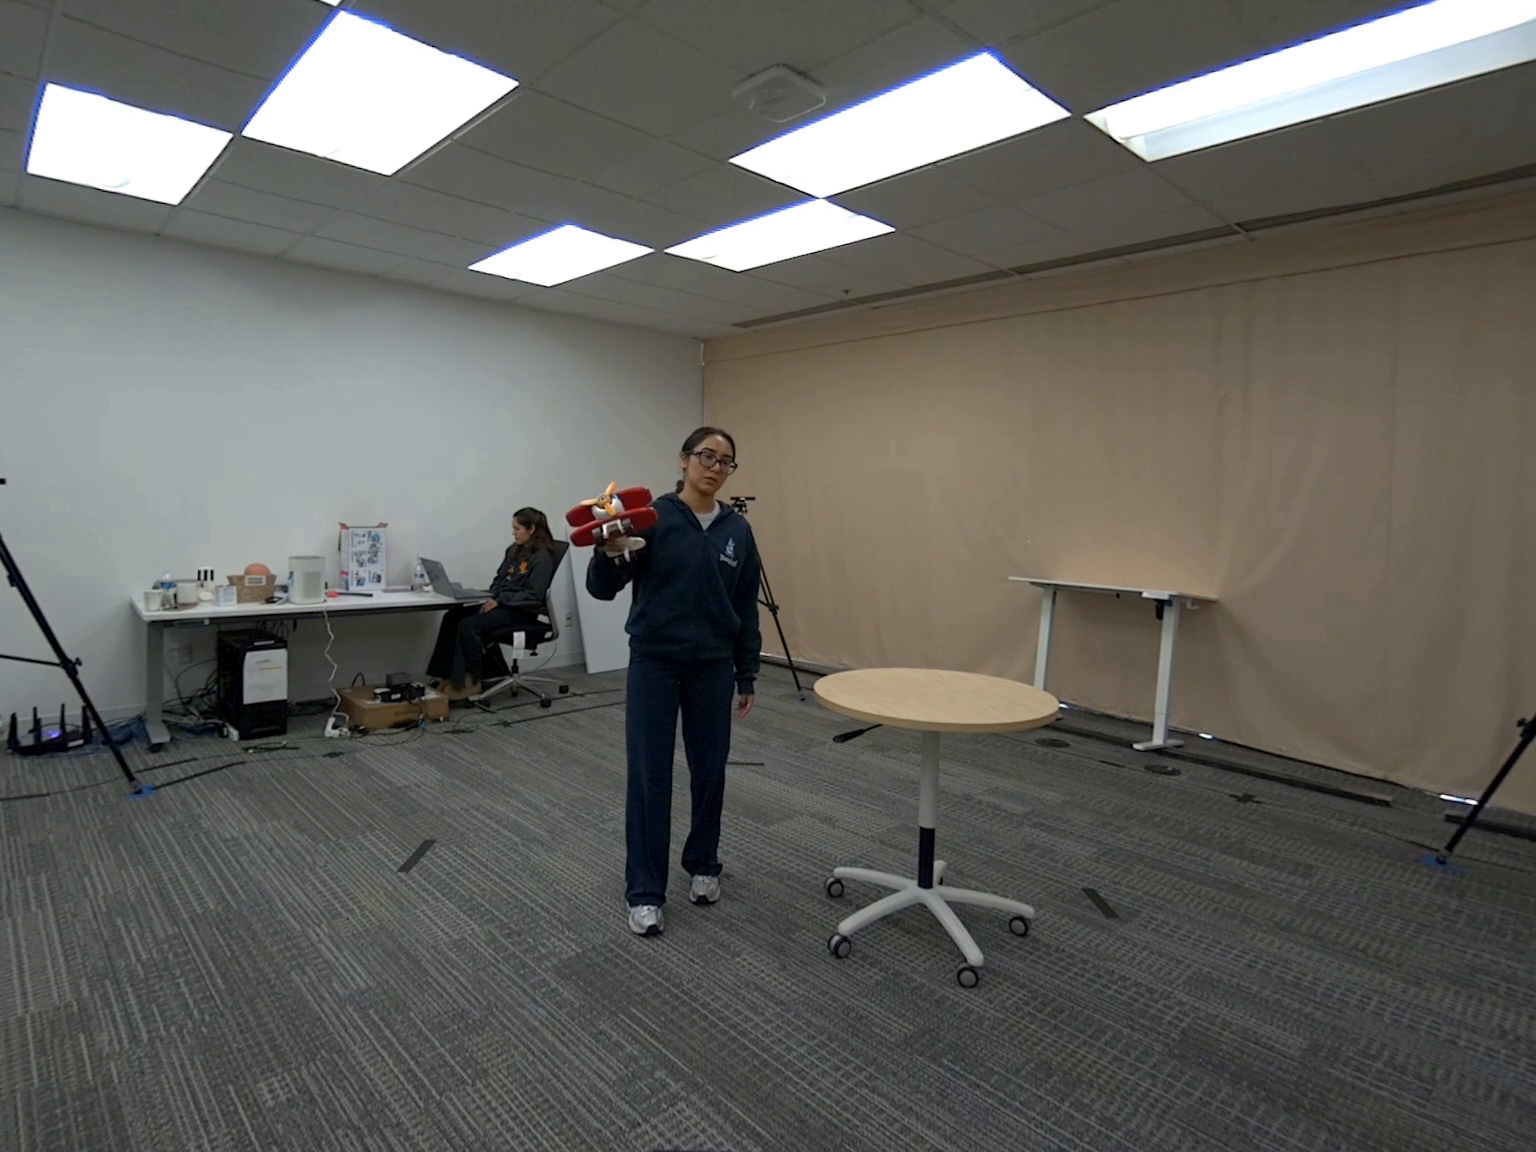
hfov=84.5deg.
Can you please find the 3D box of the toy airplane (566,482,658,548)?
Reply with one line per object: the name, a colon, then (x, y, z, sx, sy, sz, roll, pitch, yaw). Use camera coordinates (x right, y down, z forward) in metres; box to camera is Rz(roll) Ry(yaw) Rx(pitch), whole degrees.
toy airplane: (-0.466, -0.129, 2.443, 0.247, 0.159, 0.258, -8, -23, -28)
